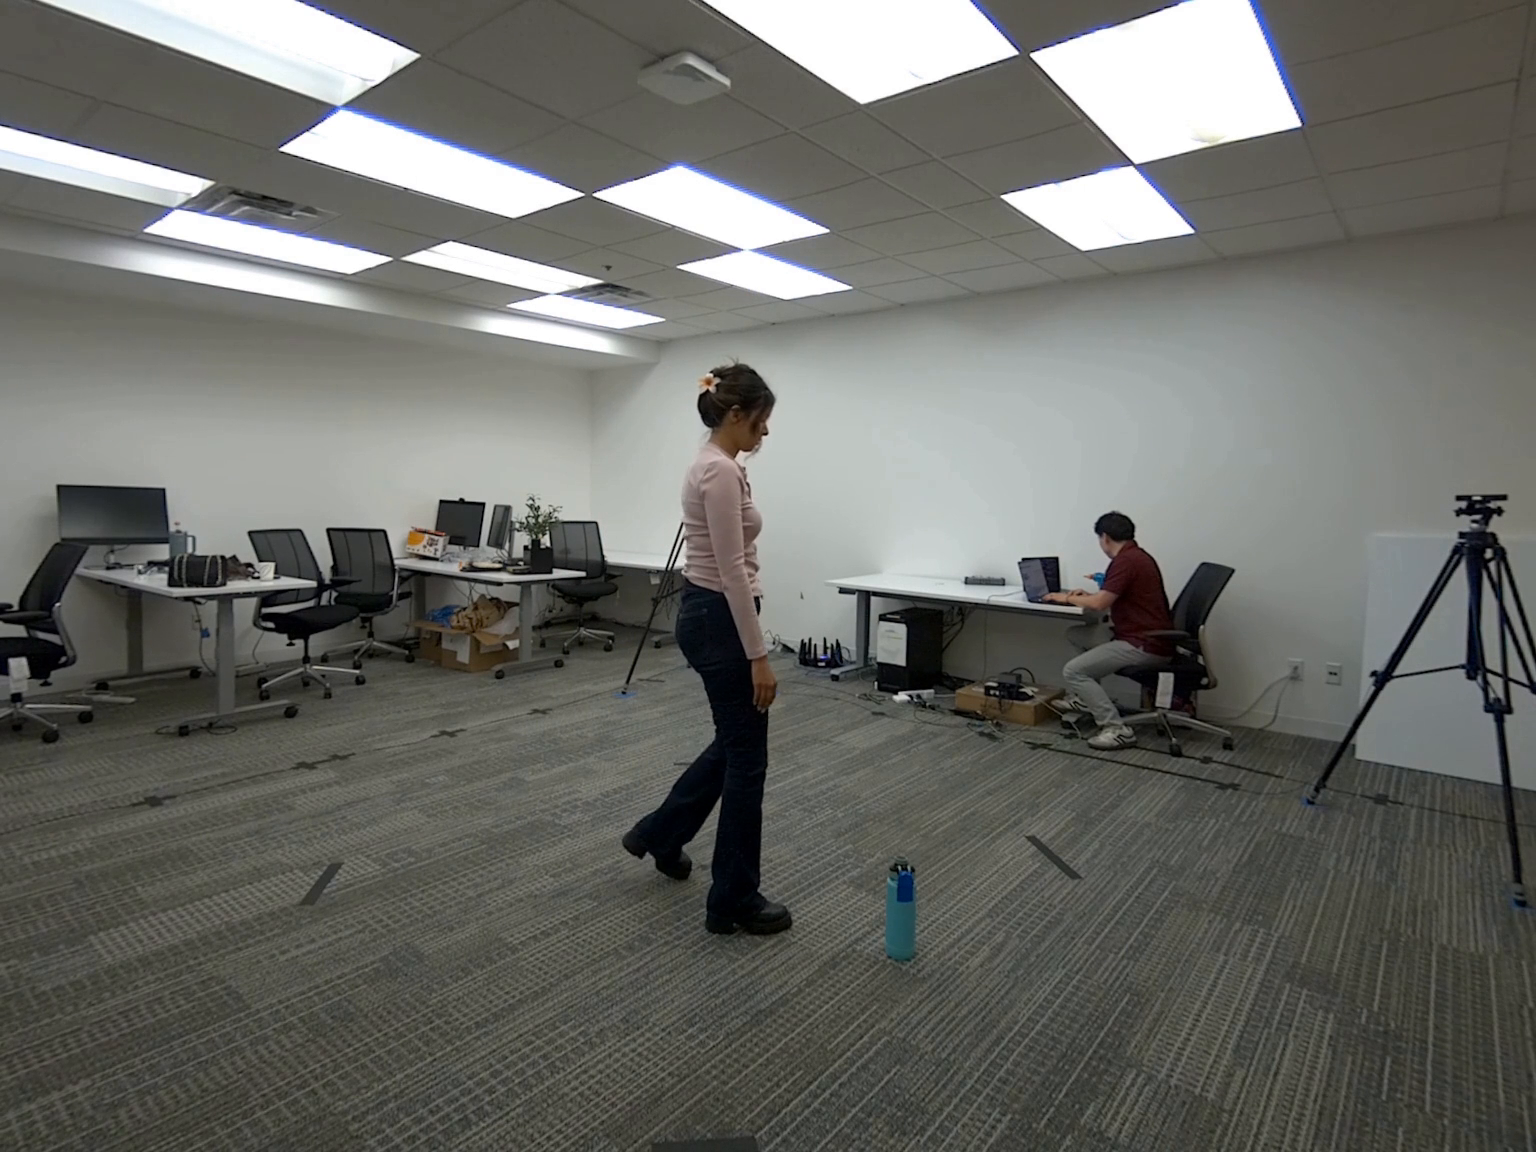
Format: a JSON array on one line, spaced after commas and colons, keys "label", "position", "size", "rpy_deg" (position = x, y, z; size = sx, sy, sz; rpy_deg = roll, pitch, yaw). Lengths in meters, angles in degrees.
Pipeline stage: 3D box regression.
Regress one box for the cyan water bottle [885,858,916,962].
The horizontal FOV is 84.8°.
[{"label": "cyan water bottle", "position": [0.398, 0.994, 2.555], "size": [0.092, 0.283, 0.092], "rpy_deg": [3, 2, -2]}]
